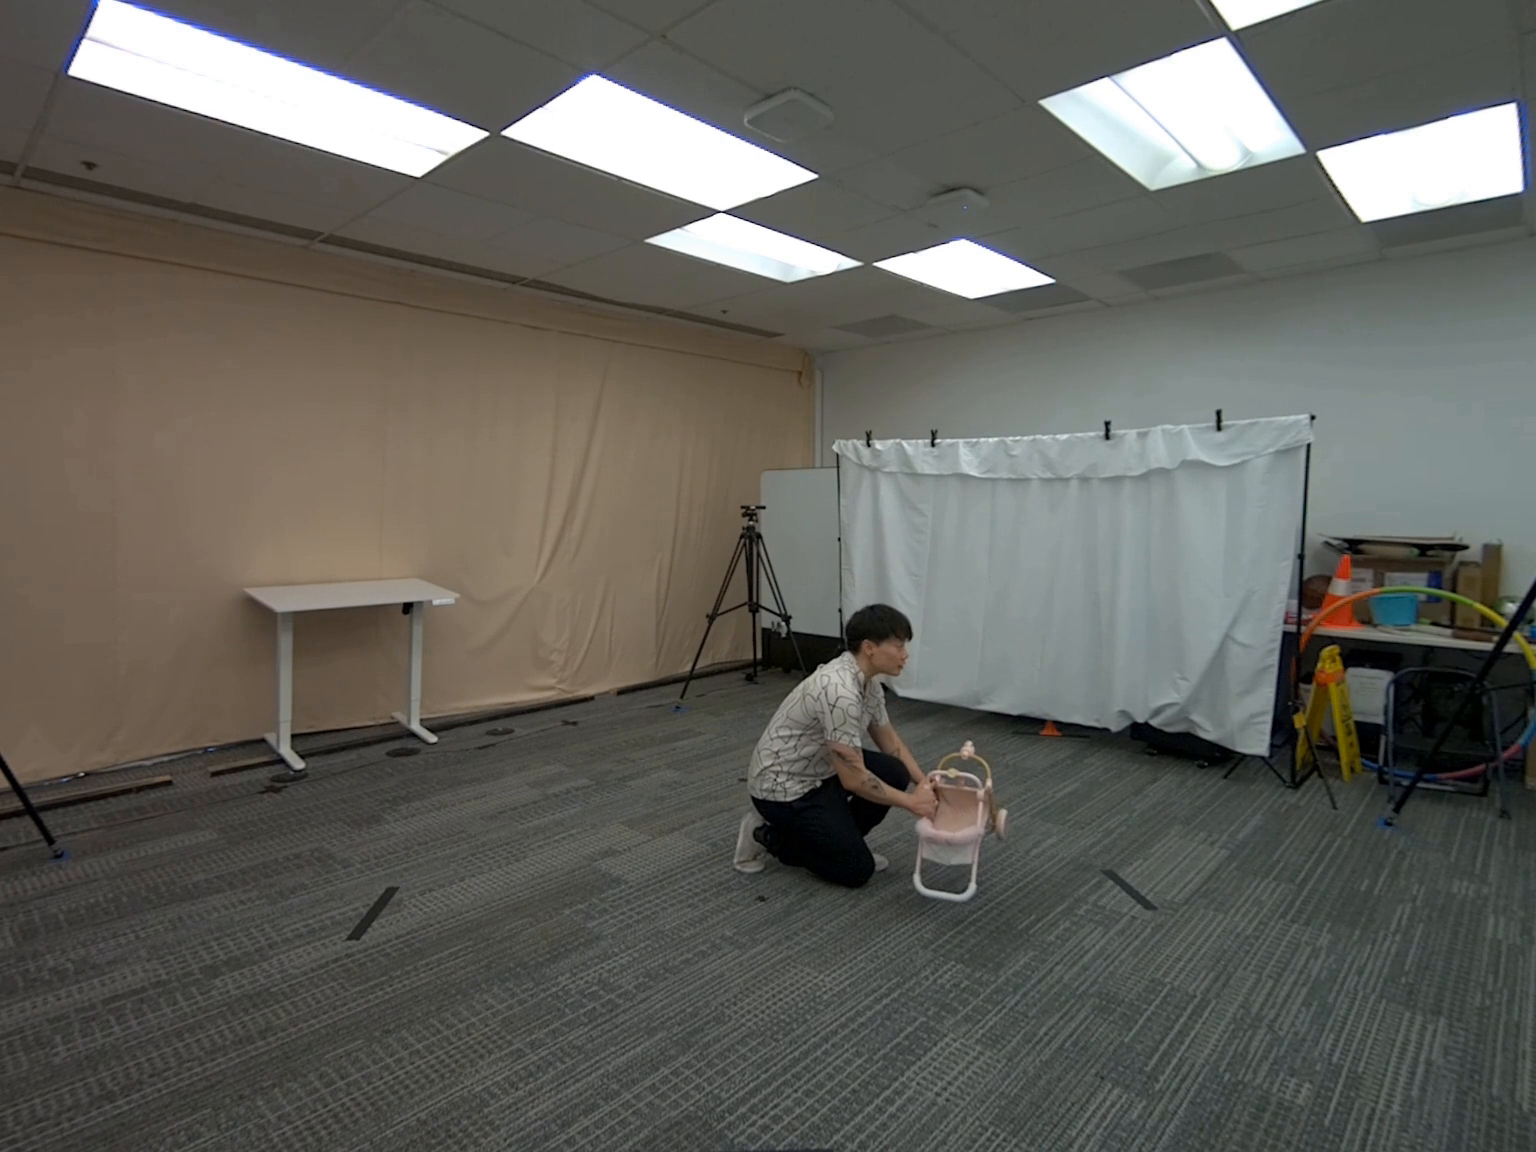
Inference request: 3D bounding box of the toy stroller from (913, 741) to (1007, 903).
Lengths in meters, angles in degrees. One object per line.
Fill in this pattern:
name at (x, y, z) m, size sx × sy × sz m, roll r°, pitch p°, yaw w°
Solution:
toy stroller at (0.680, 0.841, 2.969) m, size 0.289 × 0.338 × 0.525 m, roll 3°, pitch 16°, yaw 27°
